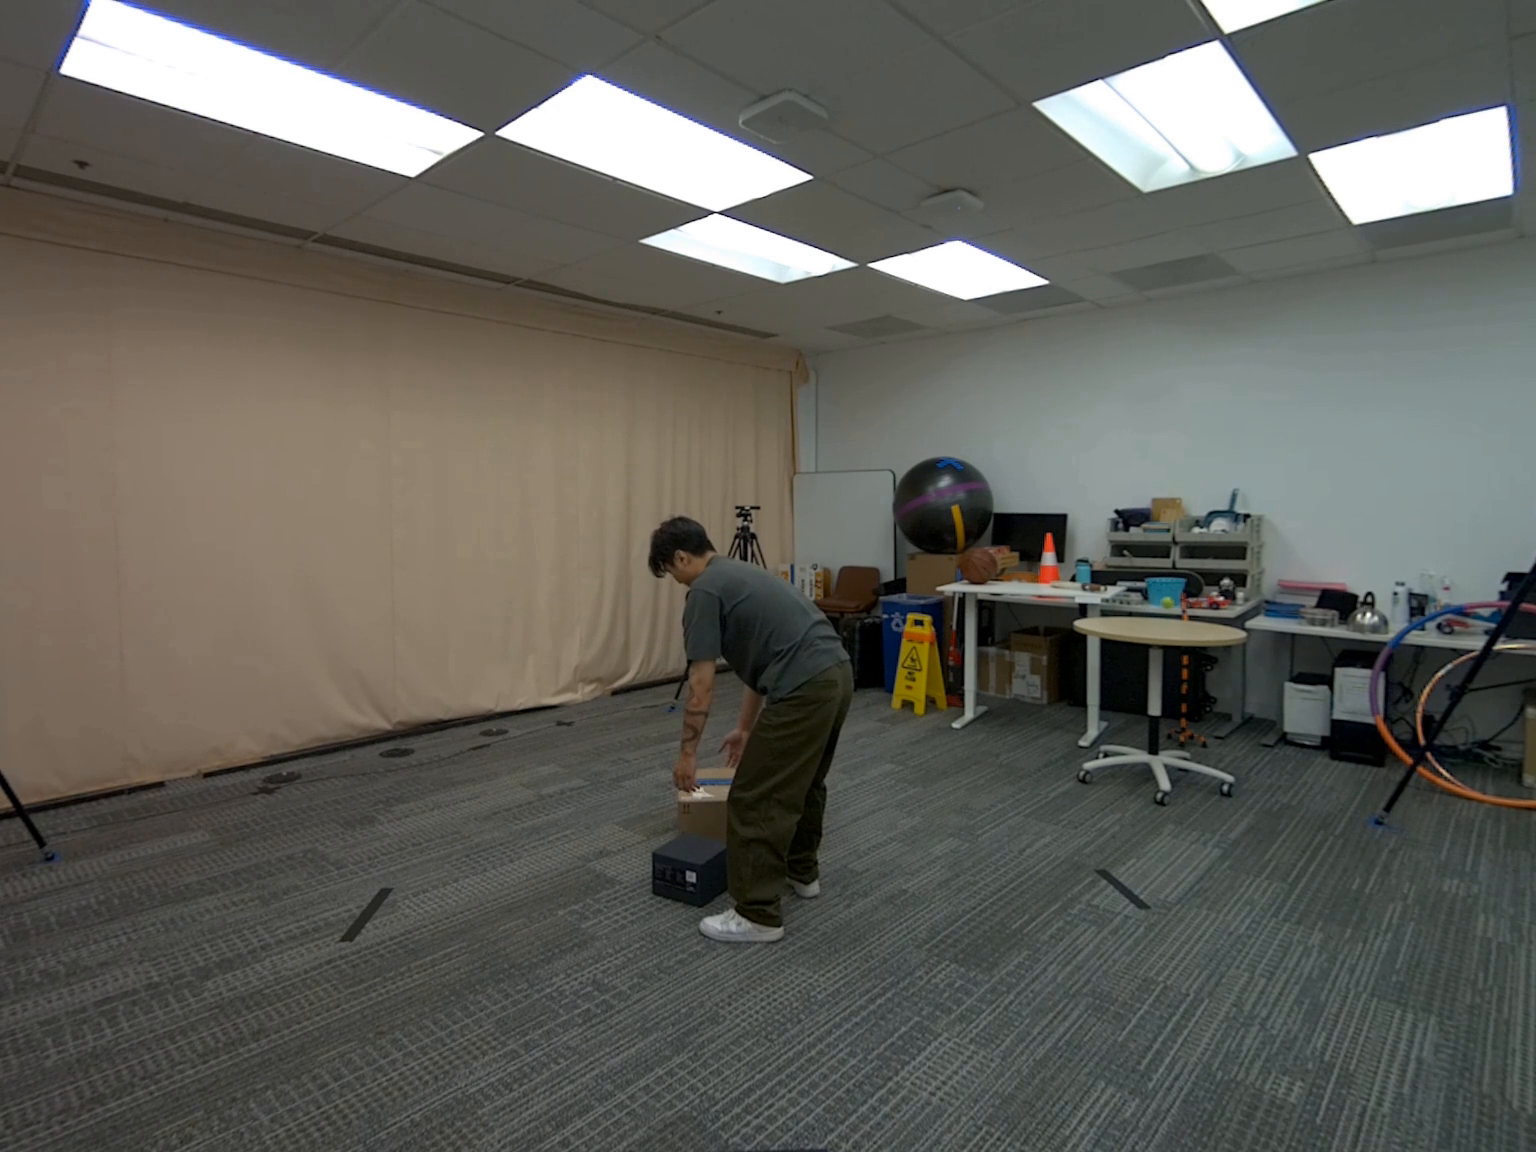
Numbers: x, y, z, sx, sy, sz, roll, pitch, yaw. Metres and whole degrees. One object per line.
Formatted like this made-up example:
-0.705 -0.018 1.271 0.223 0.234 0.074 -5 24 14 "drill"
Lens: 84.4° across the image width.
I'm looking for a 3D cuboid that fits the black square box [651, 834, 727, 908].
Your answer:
-0.269 1.060 3.057 0.223 0.155 0.222 1 4 30 "black square box"
